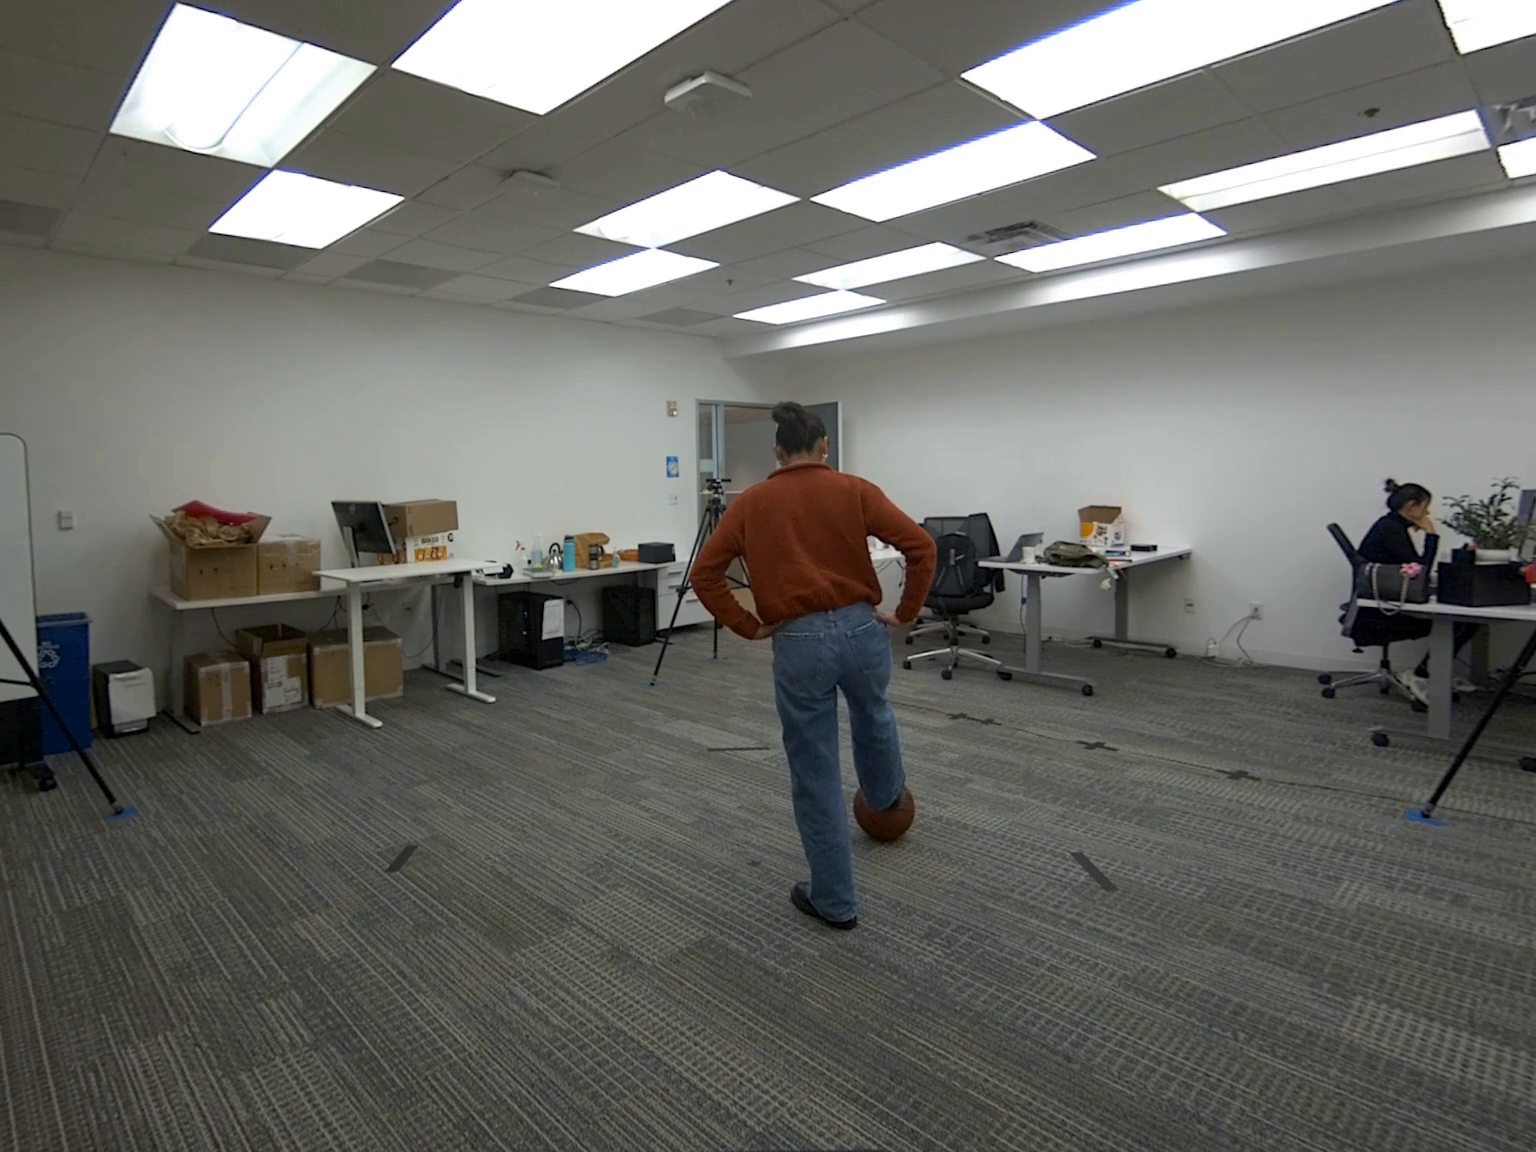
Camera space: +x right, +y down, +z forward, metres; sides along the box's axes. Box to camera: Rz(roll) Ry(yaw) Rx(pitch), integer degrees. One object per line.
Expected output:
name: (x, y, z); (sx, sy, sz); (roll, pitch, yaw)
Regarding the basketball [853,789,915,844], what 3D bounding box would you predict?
basketball: (0.452, 0.895, 3.313); (0.236, 0.235, 0.237); (-1, 5, -2)
